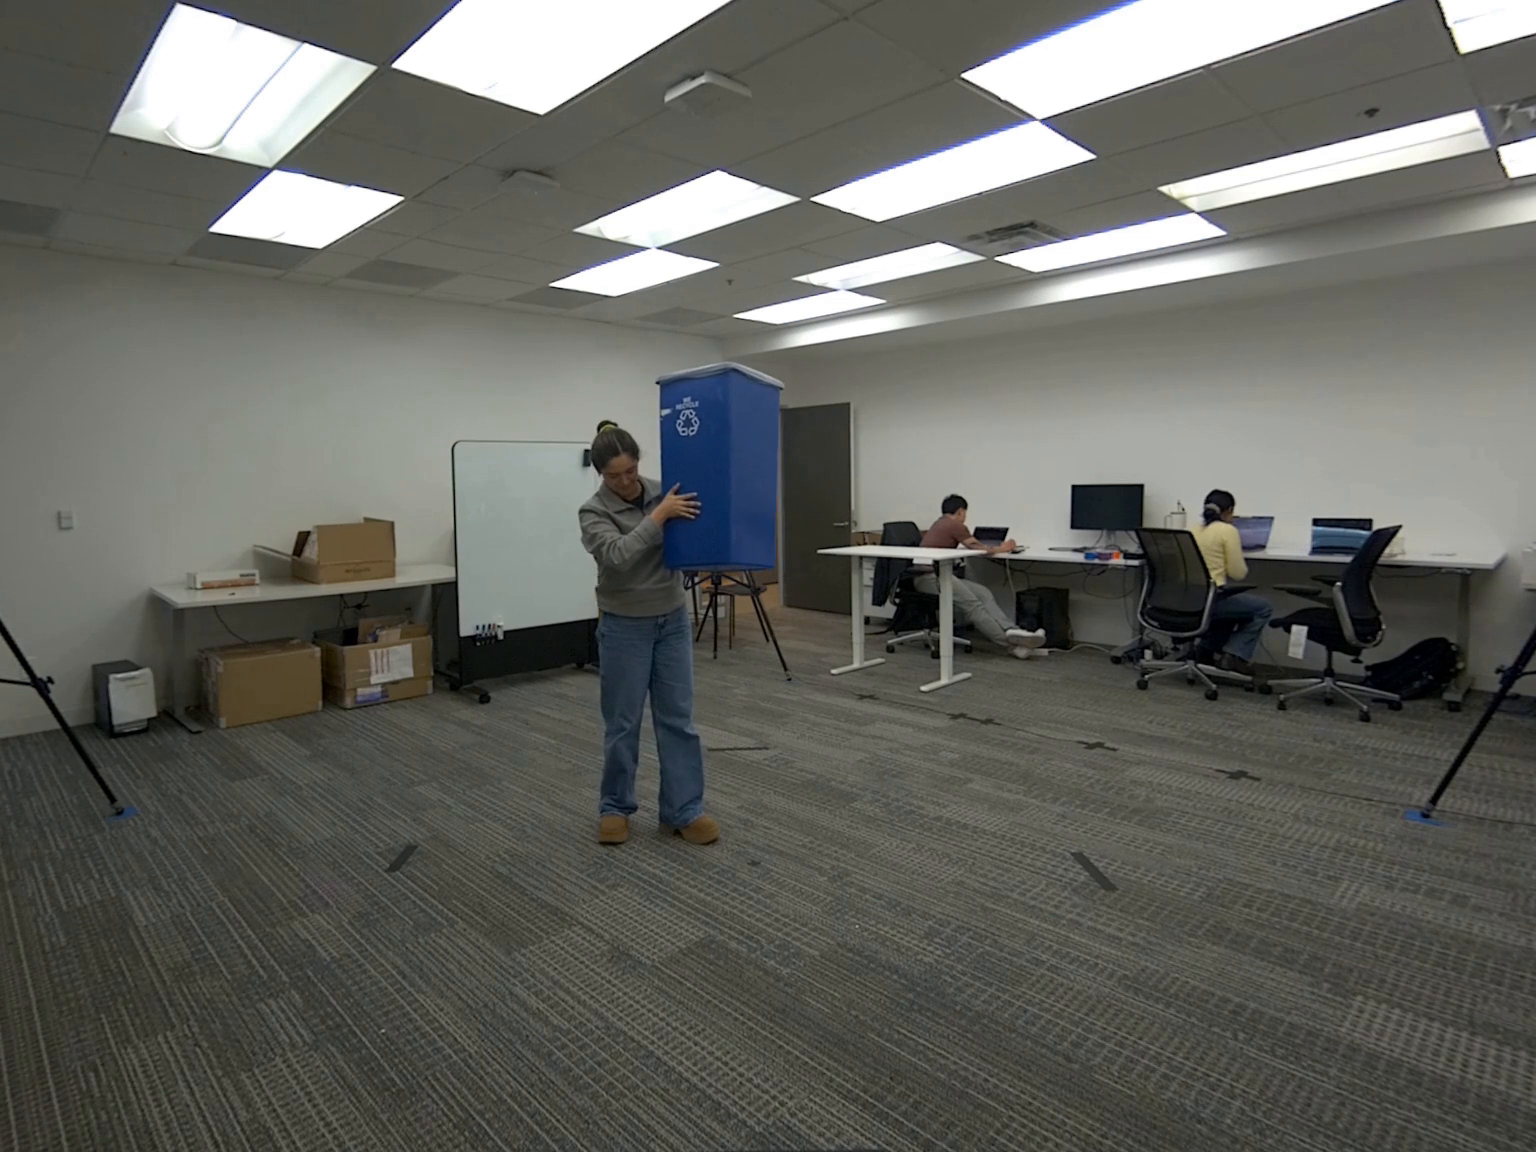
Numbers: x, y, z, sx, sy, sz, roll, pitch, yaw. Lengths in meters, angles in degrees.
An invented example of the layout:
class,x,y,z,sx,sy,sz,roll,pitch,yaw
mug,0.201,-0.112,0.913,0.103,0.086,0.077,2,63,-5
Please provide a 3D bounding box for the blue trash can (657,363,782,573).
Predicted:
class,x,y,z,sx,sy,sz,roll,pitch,yaw
blue trash can,-0.169,-0.389,3.186,0.383,0.717,0.367,-5,-6,33
